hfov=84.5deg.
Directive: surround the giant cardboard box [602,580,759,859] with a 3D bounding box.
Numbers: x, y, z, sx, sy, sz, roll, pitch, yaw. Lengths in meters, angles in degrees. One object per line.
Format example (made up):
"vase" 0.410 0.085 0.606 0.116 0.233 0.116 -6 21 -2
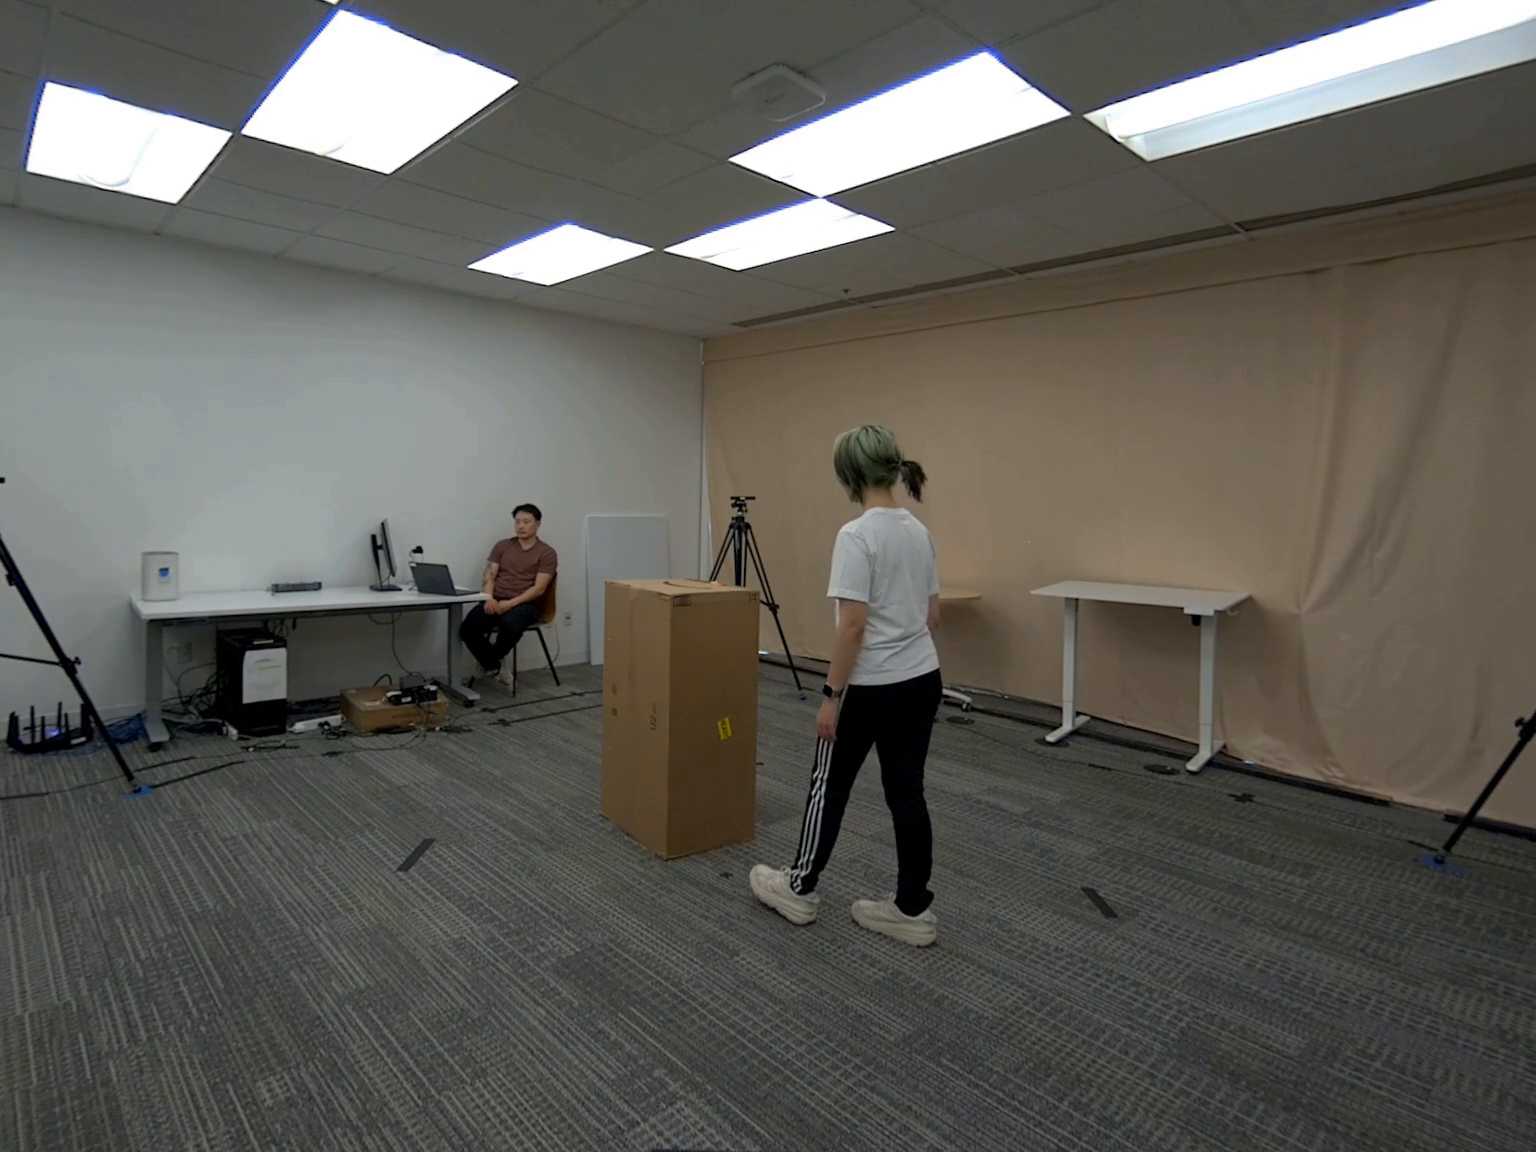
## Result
"giant cardboard box" -0.387 0.552 3.544 0.437 1.024 0.598 -1 4 -37
